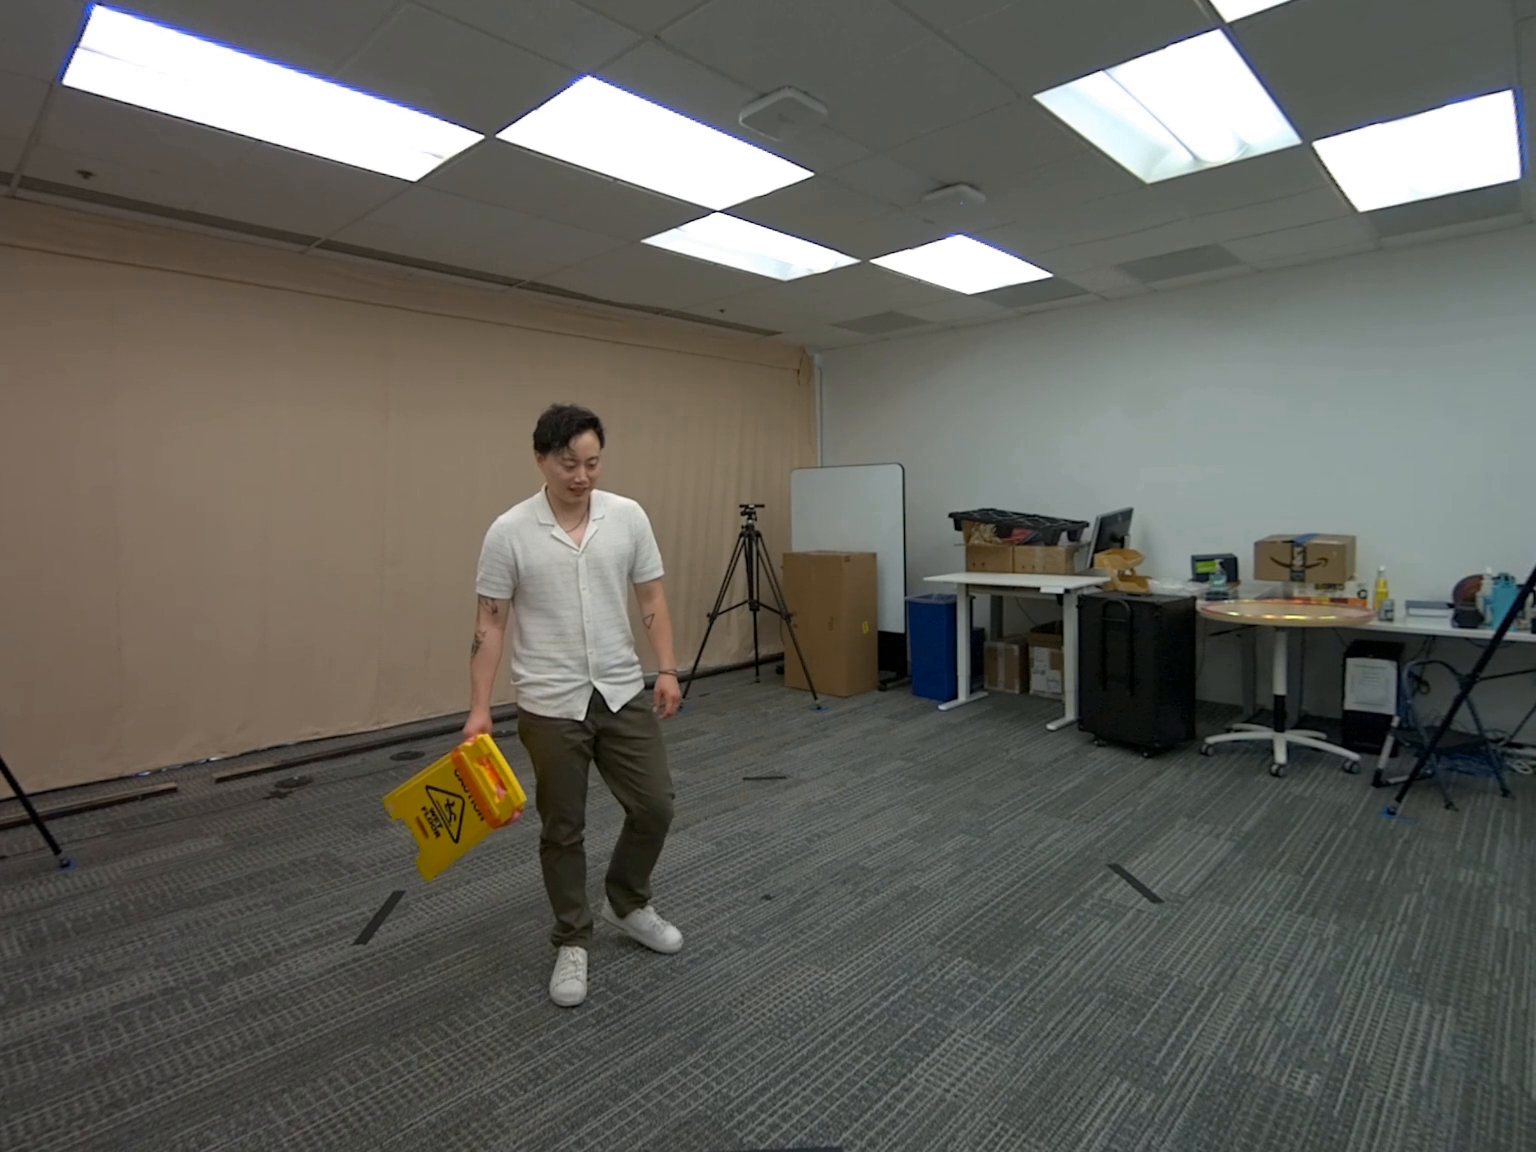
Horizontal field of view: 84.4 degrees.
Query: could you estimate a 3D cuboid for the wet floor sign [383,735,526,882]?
[{"bbox_3d":[-0.810,0.597,2.328,0.284,0.284,0.654,-29,-6,-39],"label":"wet floor sign"}]
